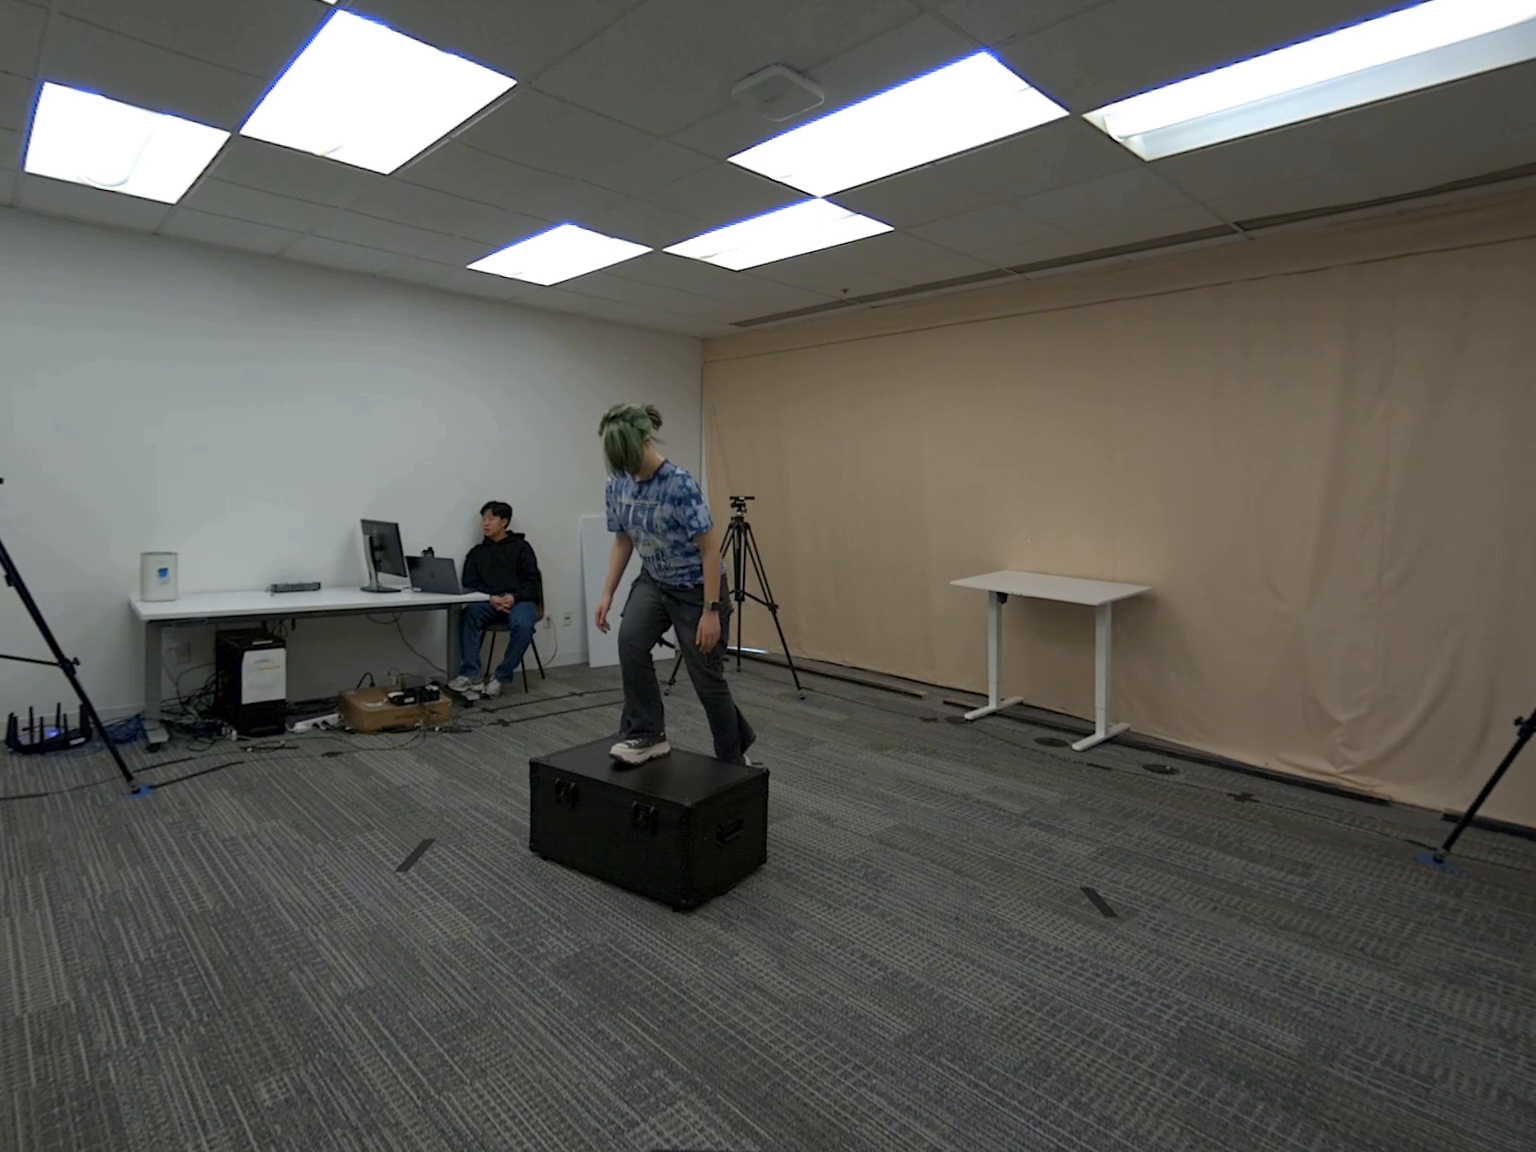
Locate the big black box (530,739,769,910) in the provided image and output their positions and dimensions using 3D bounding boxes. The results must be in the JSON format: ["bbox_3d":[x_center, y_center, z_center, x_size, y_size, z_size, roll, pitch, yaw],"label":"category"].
[{"bbox_3d":[-0.489,0.900,3.202,0.882,0.395,0.510,5,5,34],"label":"big black box"}]
